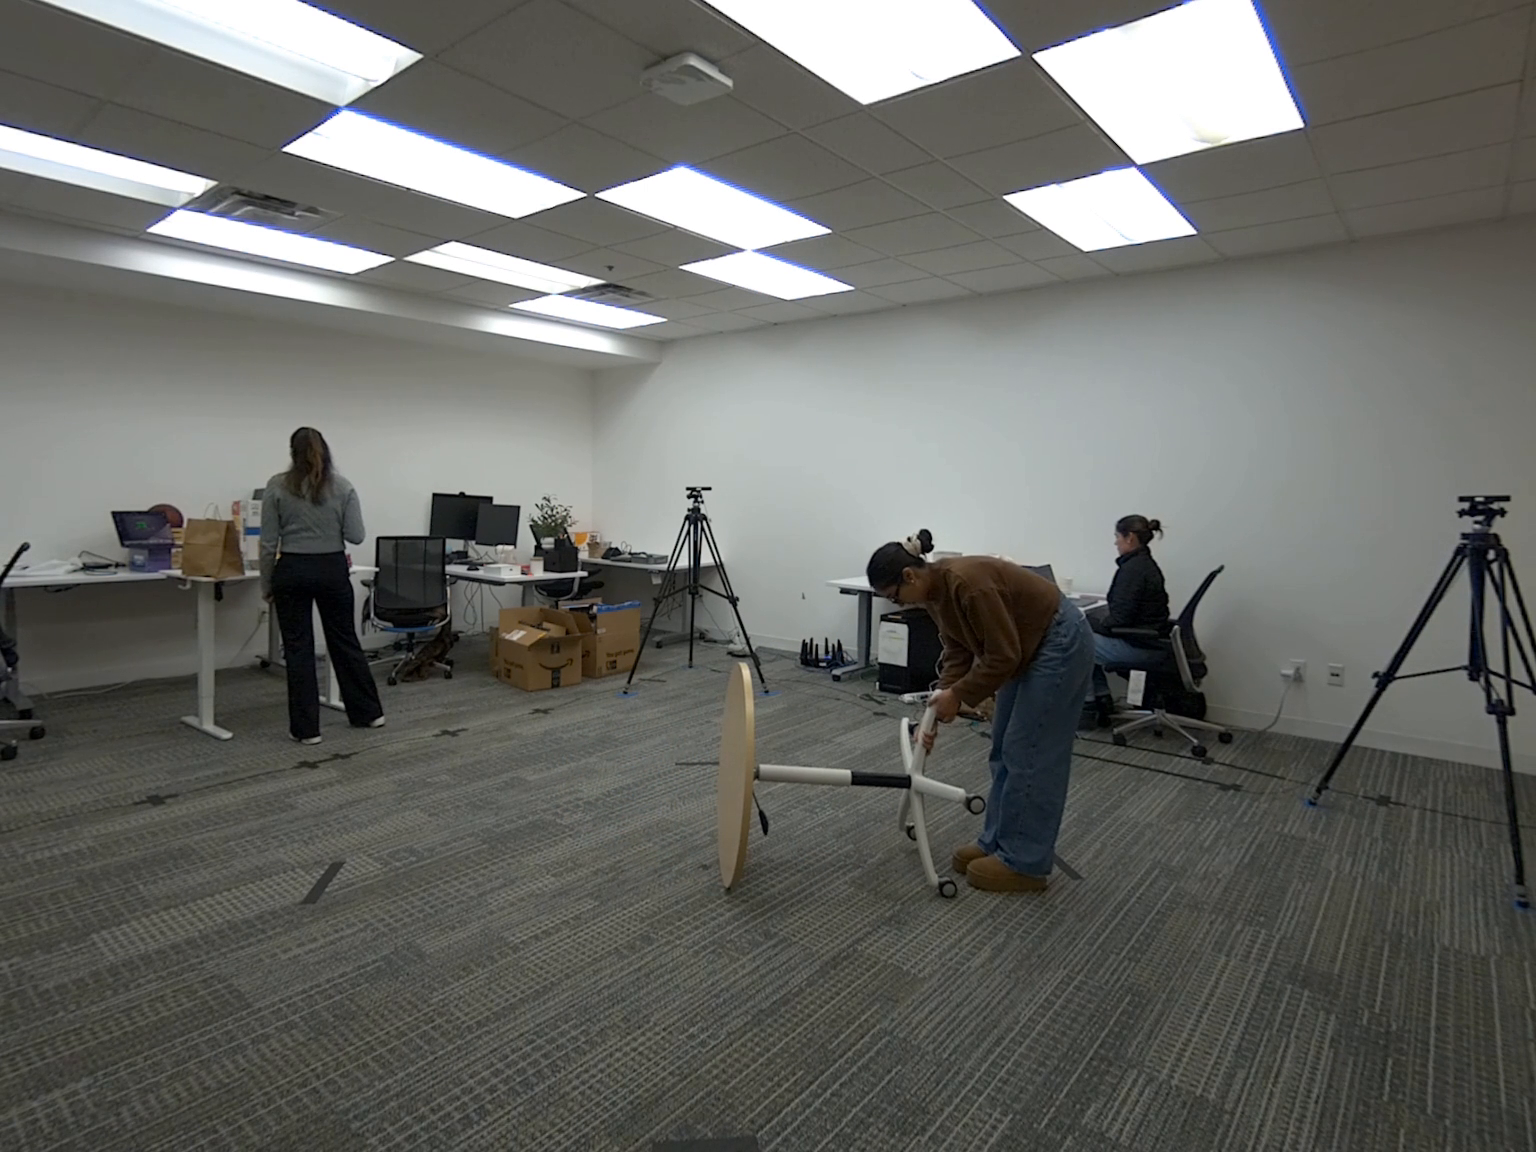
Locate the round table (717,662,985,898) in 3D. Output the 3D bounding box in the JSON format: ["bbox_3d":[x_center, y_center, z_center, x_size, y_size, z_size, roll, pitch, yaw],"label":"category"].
[{"bbox_3d":[0.251,0.723,3.064,0.790,0.762,0.771,4,4,-6],"label":"round table"}]
